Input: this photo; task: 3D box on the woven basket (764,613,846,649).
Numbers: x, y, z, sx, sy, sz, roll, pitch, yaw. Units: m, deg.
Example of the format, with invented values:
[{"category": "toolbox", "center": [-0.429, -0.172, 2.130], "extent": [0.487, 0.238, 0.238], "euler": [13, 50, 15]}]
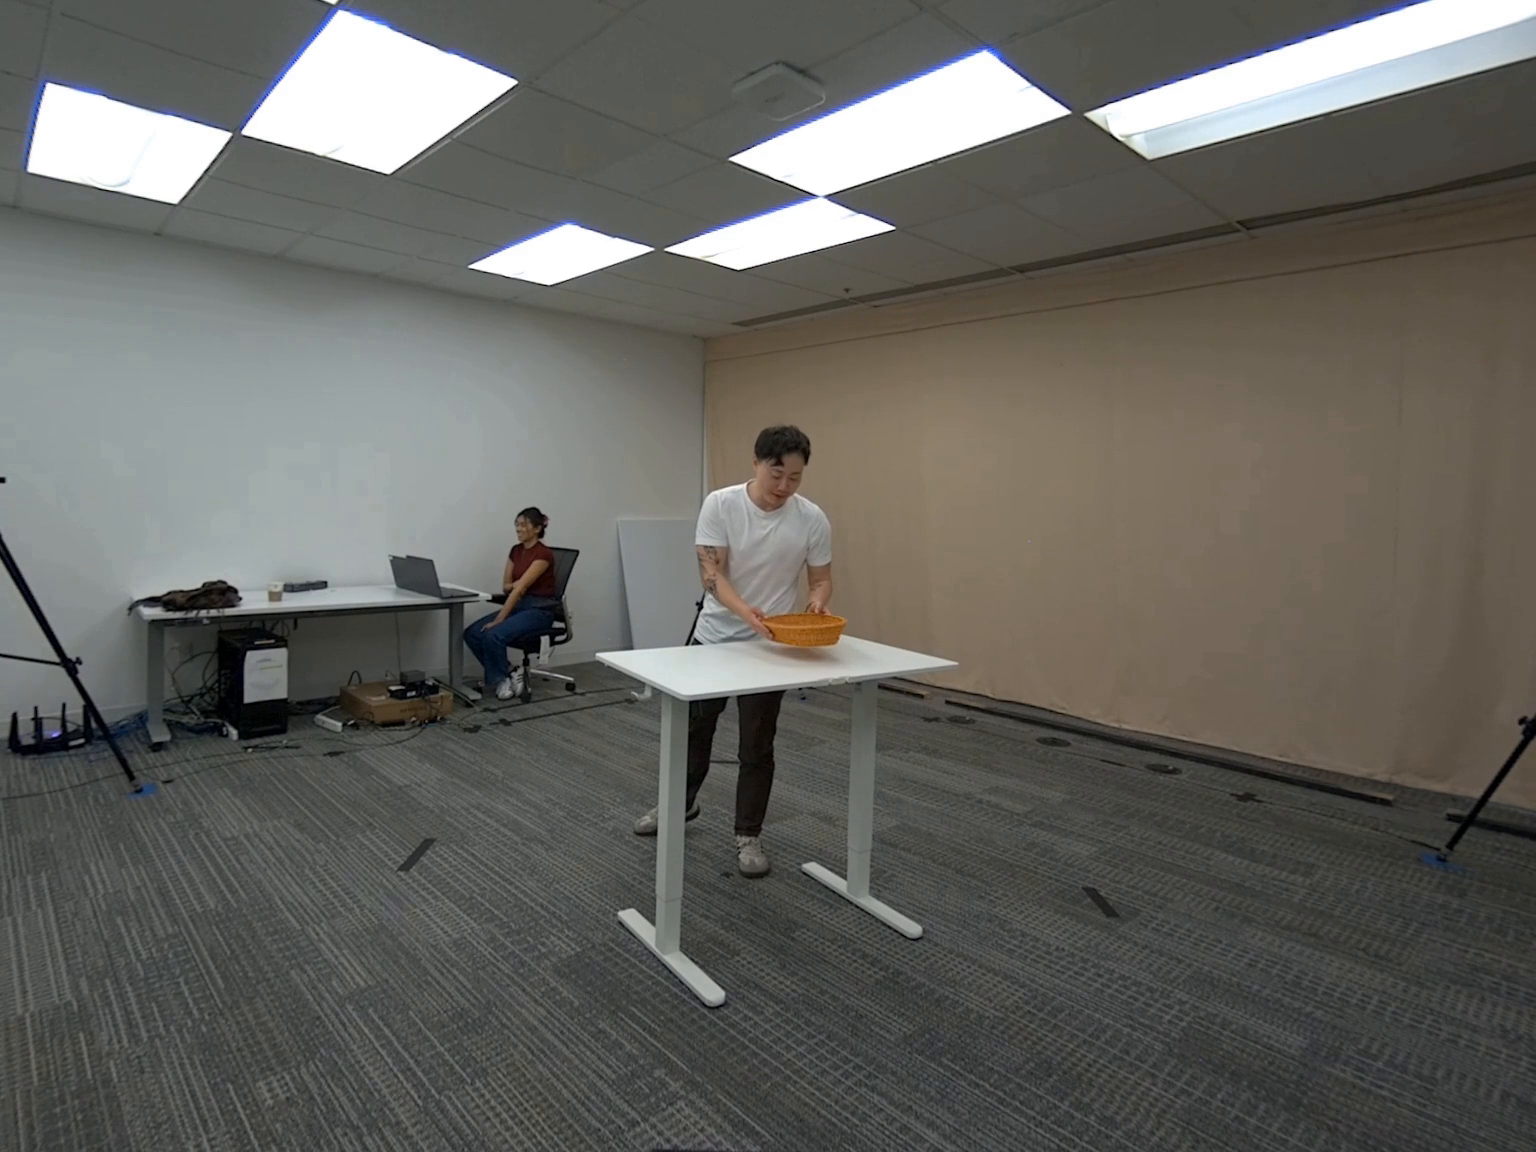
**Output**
[{"category": "woven basket", "center": [0.107, 0.185, 2.746], "extent": [0.250, 0.073, 0.355], "euler": [-3, 5, -14]}]
